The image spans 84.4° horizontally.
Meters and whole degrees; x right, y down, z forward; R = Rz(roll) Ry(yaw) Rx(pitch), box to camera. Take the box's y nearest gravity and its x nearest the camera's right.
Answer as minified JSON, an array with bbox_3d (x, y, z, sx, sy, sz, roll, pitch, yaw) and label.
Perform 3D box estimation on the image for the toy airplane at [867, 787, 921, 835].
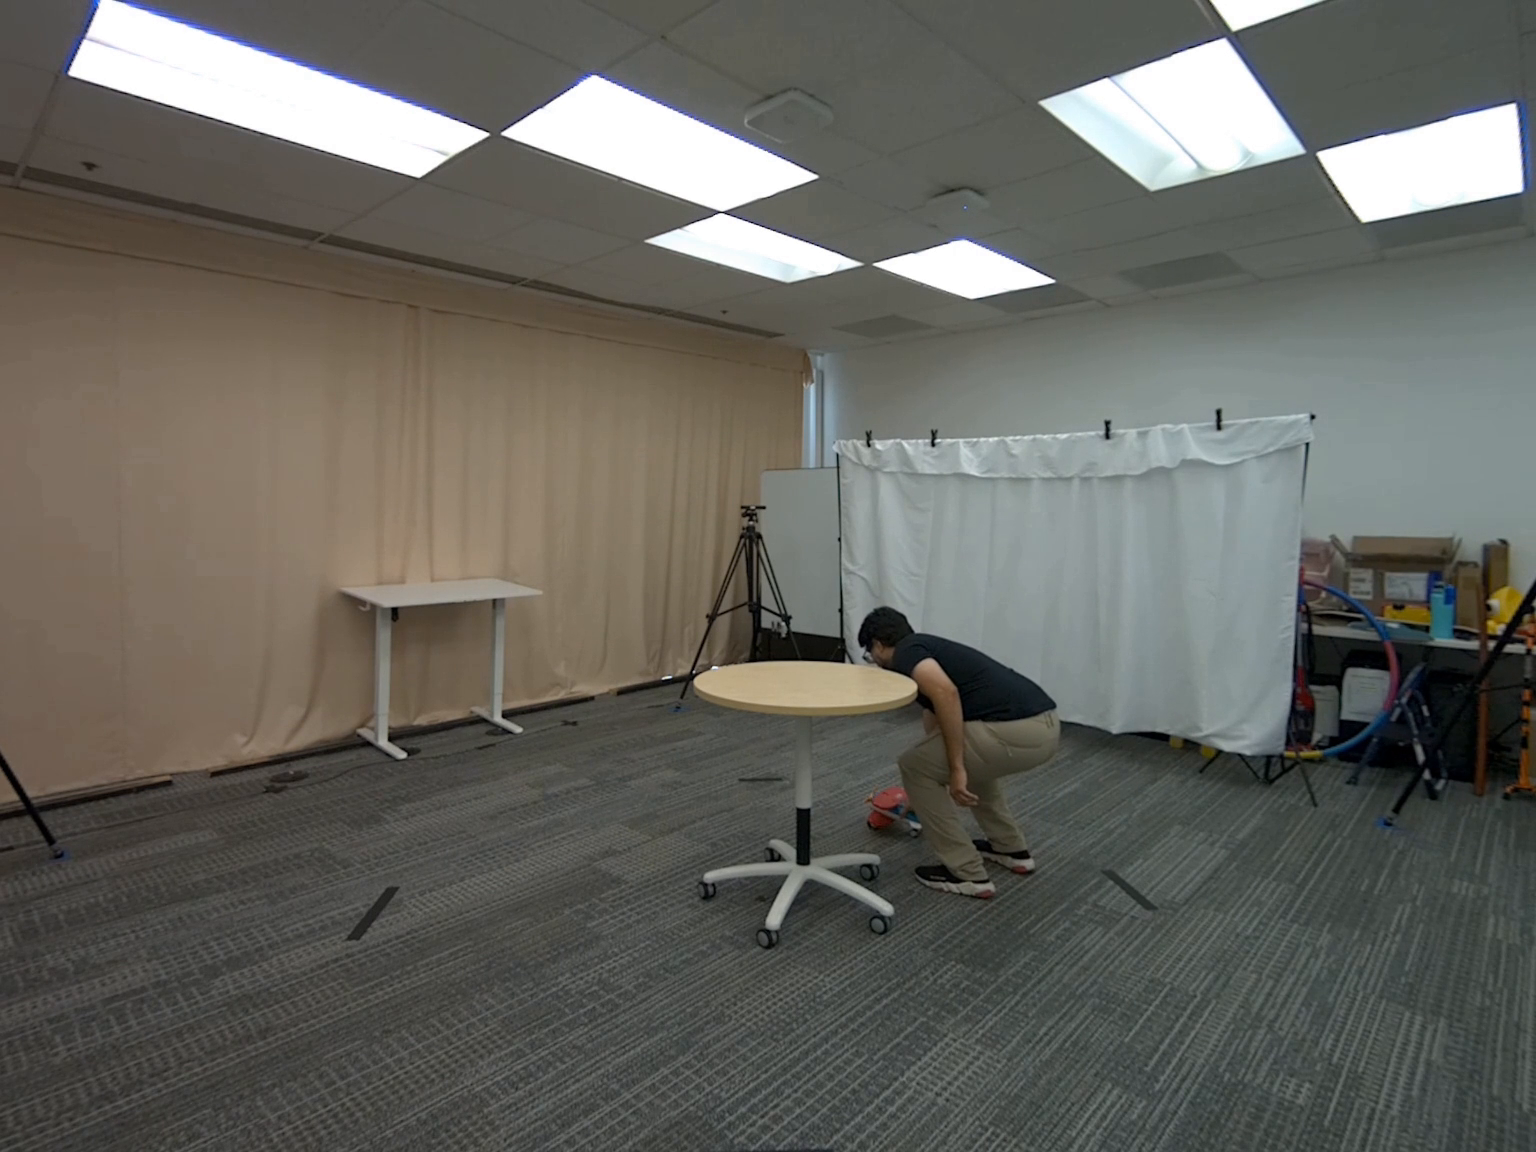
[{"bbox_3d":[0.559,1.017,3.629,0.261,0.156,0.250,-2,4,5],"label":"toy airplane"}]
